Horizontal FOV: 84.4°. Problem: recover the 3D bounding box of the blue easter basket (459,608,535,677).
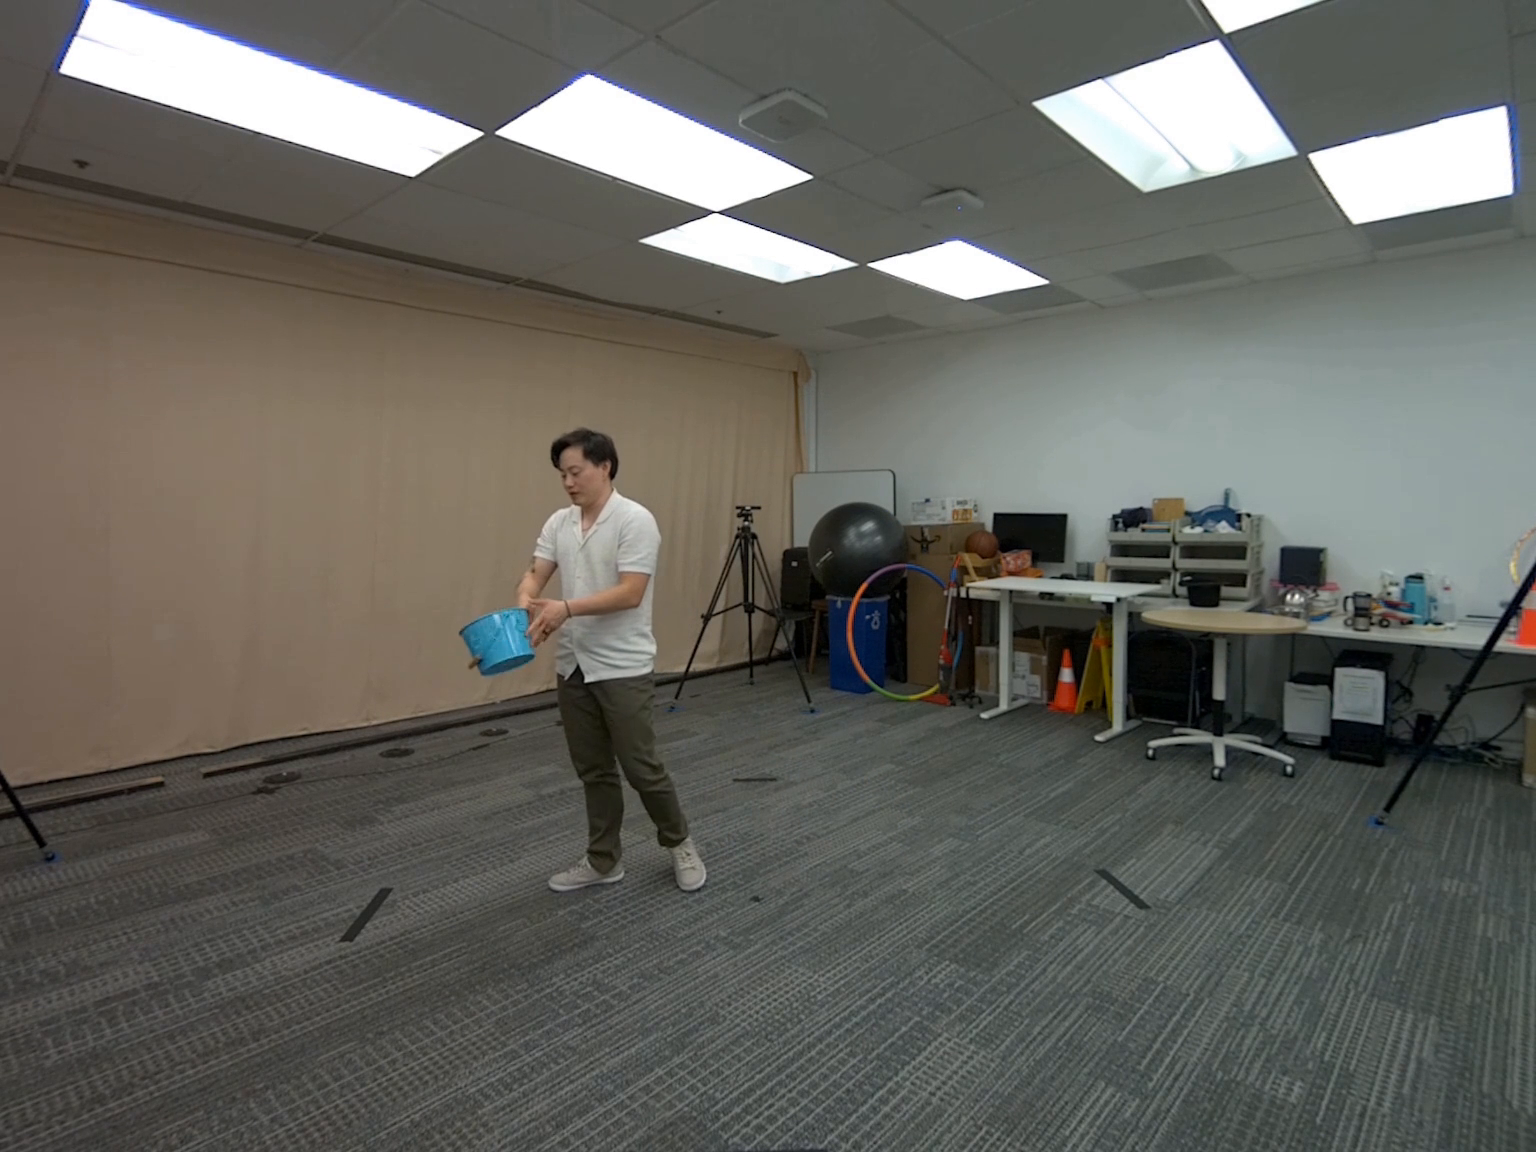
[{"bbox_3d":[-0.877,0.226,2.750,0.242,0.158,0.242,-22,-12,-7],"label":"blue easter basket"}]
